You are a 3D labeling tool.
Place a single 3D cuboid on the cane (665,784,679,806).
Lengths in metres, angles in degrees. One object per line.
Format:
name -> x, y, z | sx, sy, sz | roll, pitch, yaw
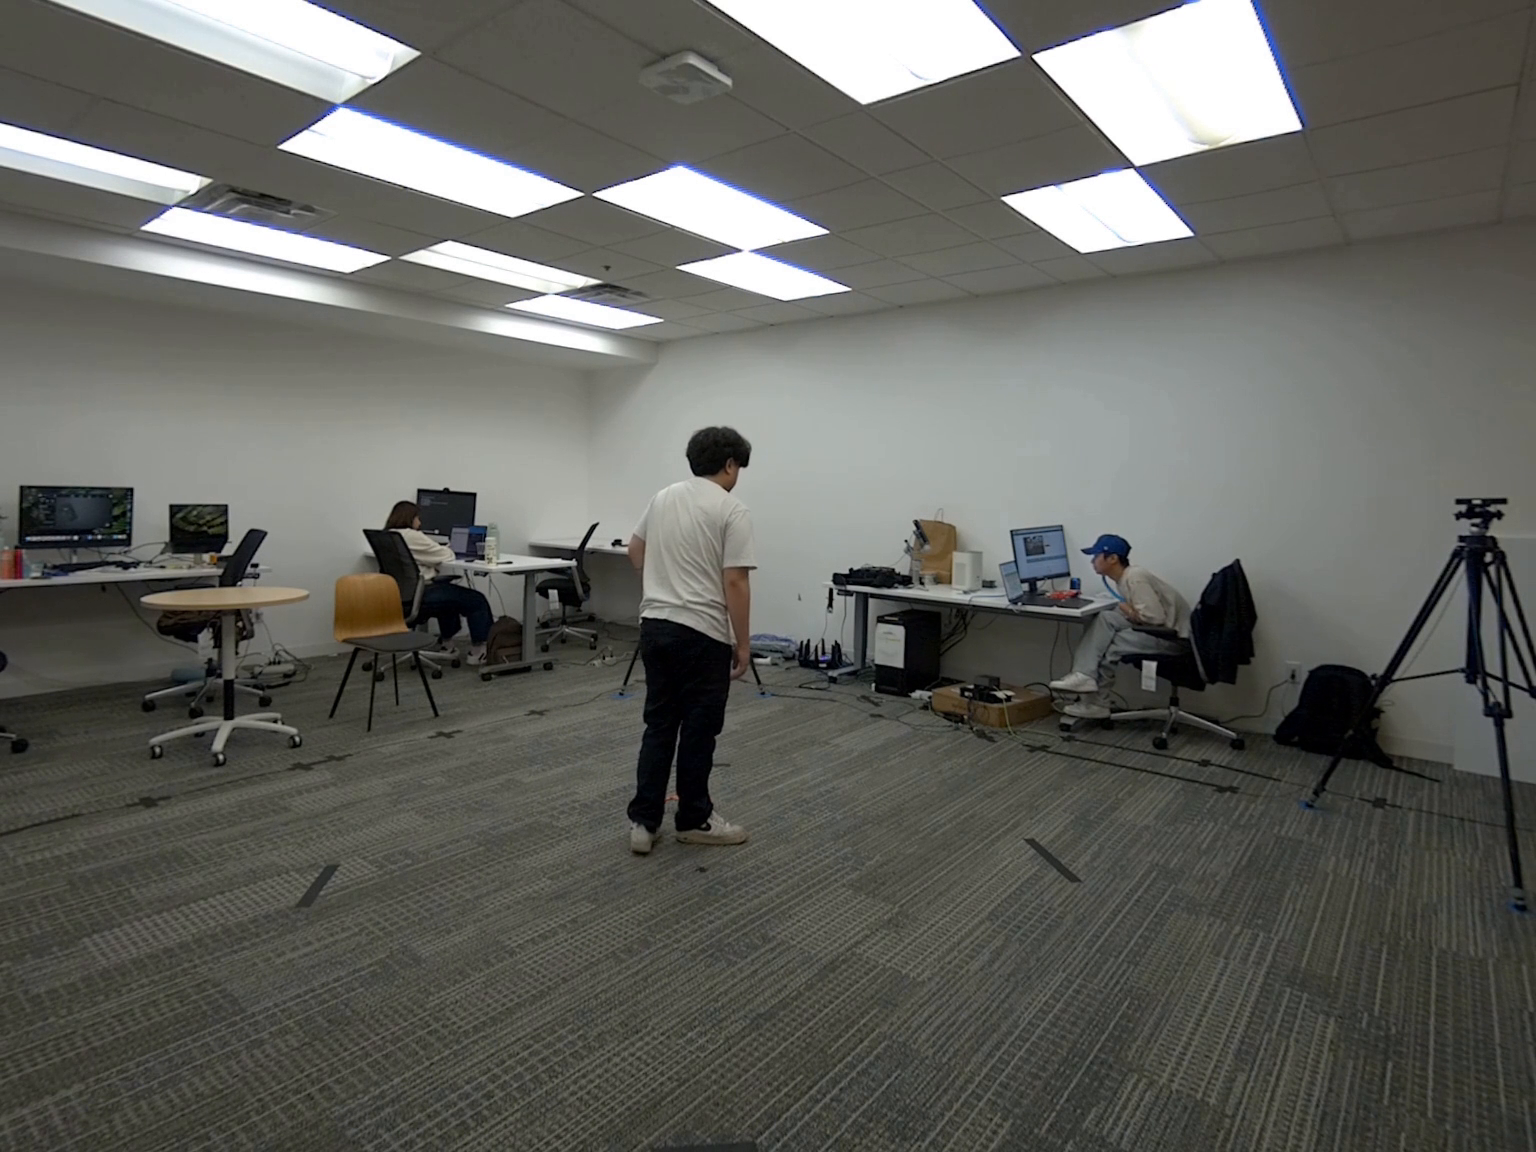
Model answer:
cane -> -0.358, 0.555, 3.655 | 0.157, 0.906, 0.200 | 3, 3, 41
